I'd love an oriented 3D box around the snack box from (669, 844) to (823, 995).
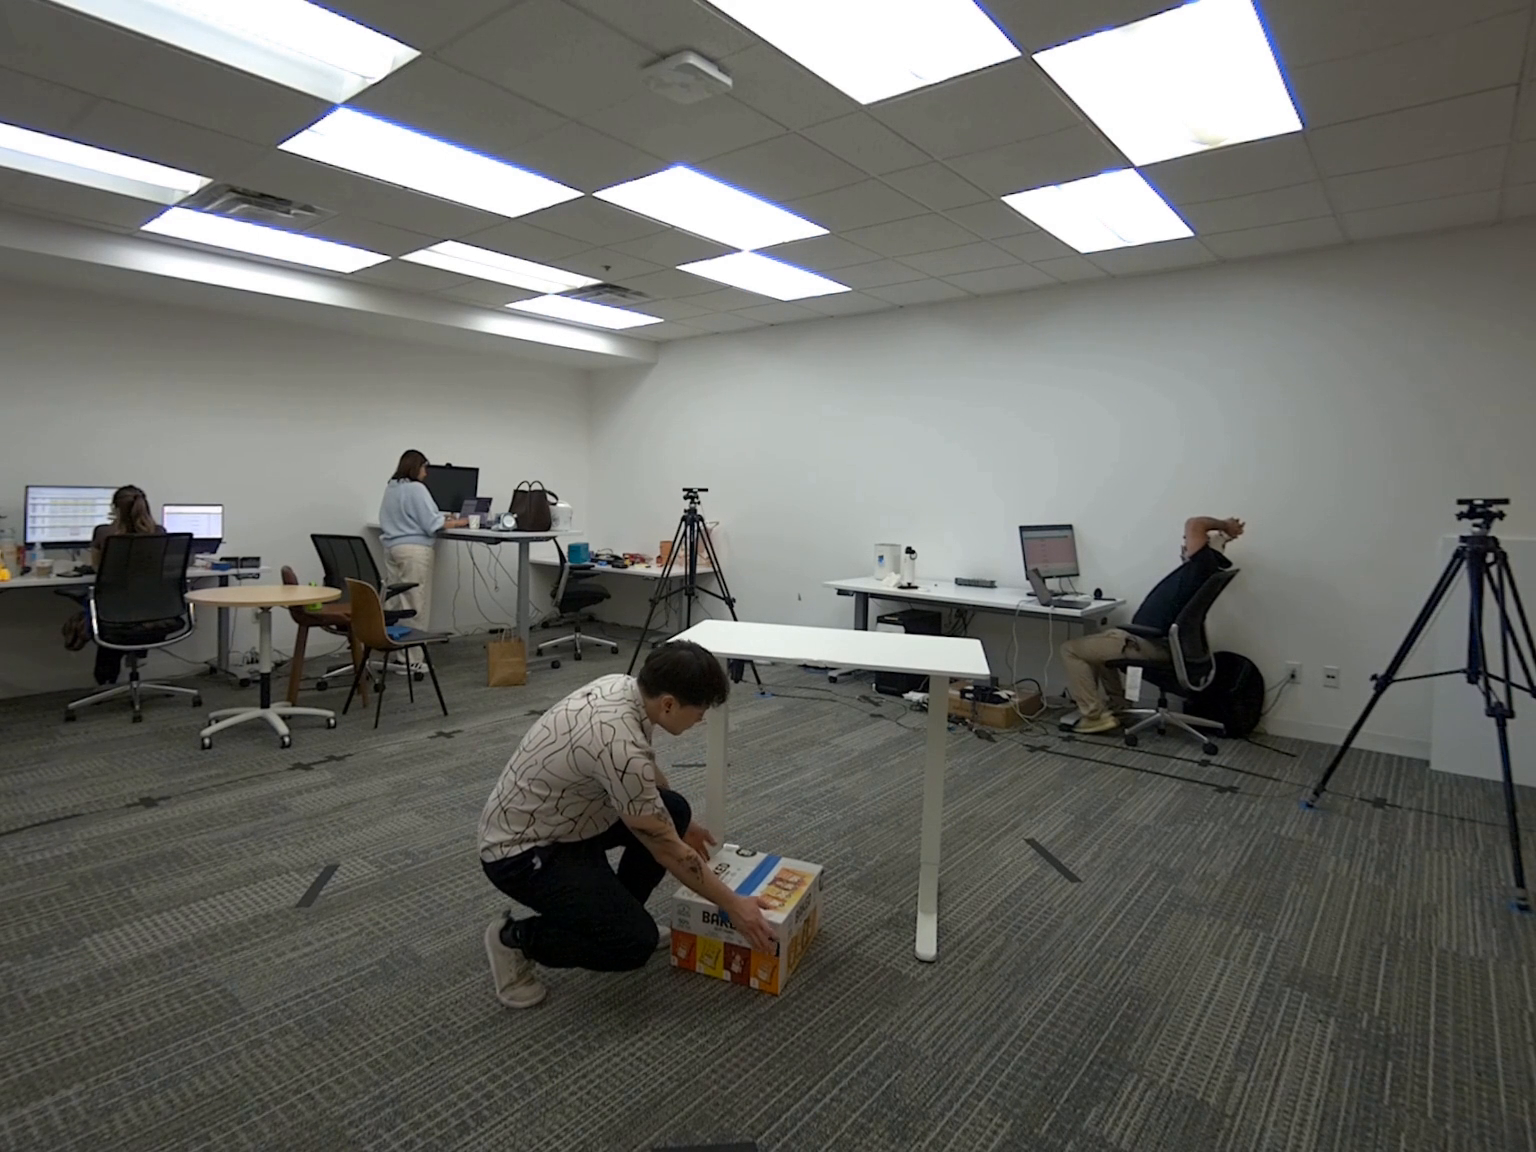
[{"bbox_3d":[-0.060,1.026,2.581,0.348,0.205,0.397,5,6,21],"label":"snack box"}]
